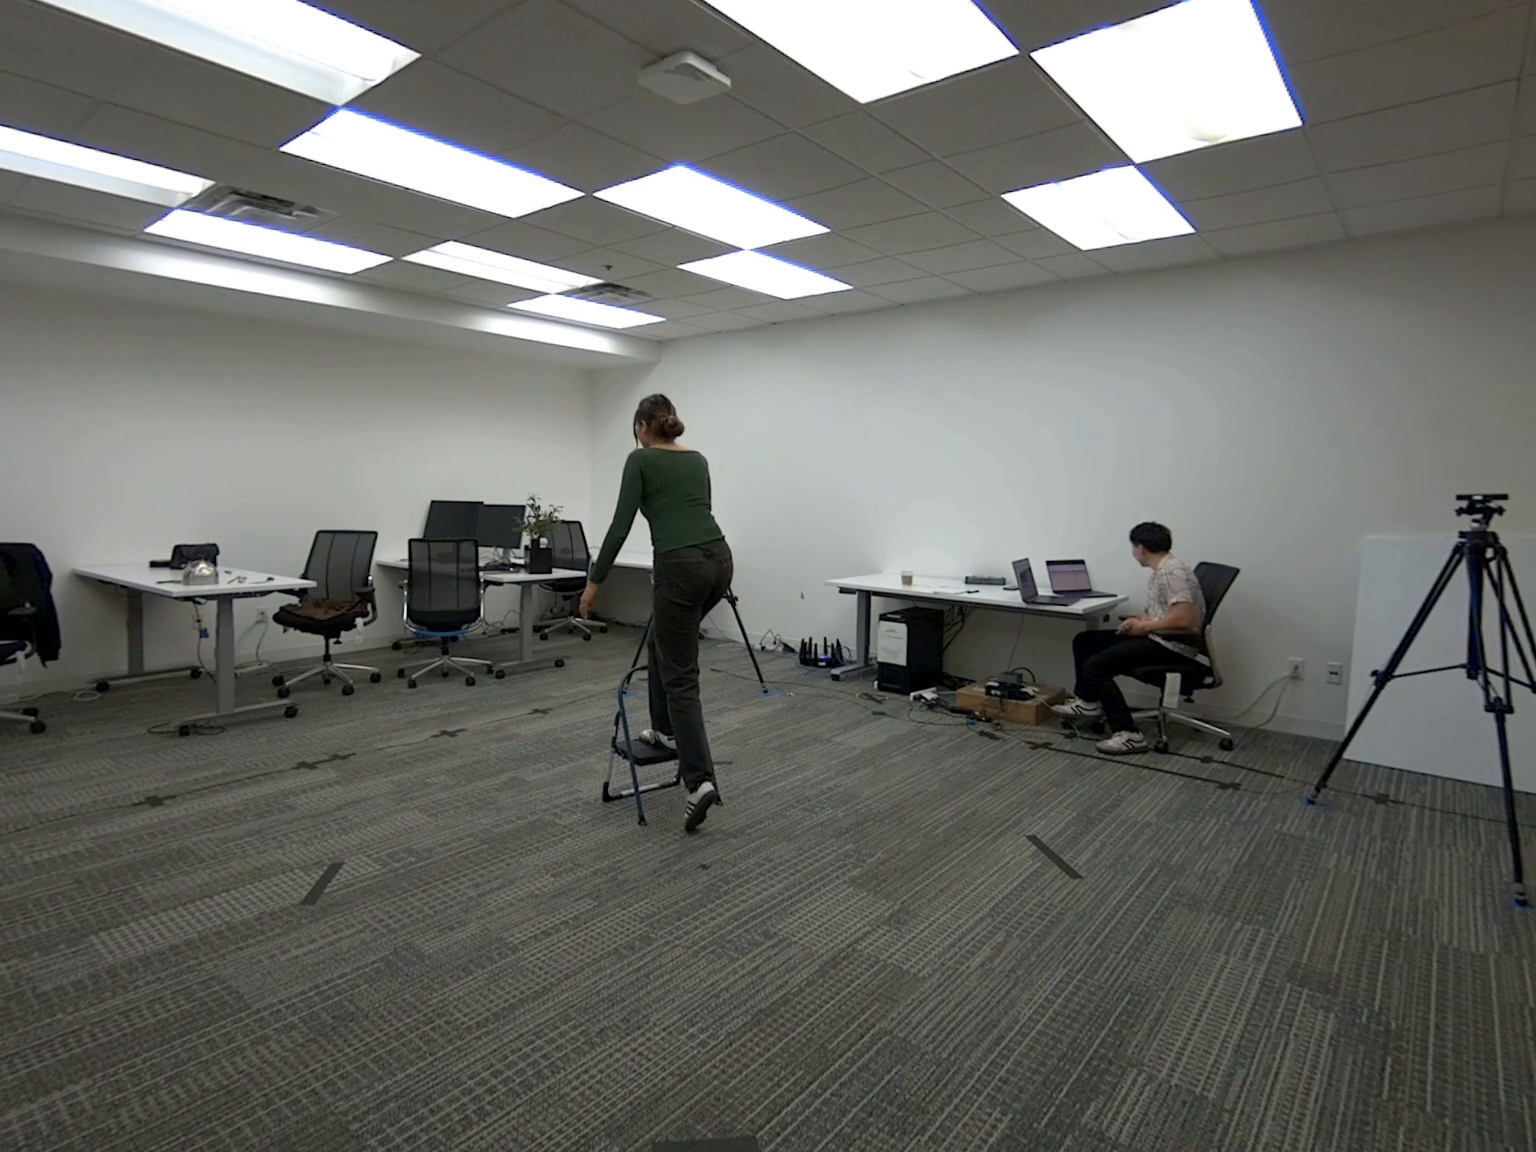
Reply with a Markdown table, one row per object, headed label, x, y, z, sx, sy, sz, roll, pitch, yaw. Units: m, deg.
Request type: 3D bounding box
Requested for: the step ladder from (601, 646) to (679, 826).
| label | x | y | z | sx | sy | sz | roll | pitch | yaw |
| --- | --- | --- | --- | --- | --- | --- | --- | --- | --- |
| step ladder | -0.479 | 0.698 | 3.740 | 0.418 | 0.604 | 0.361 | -2 | 4 | -40 |
